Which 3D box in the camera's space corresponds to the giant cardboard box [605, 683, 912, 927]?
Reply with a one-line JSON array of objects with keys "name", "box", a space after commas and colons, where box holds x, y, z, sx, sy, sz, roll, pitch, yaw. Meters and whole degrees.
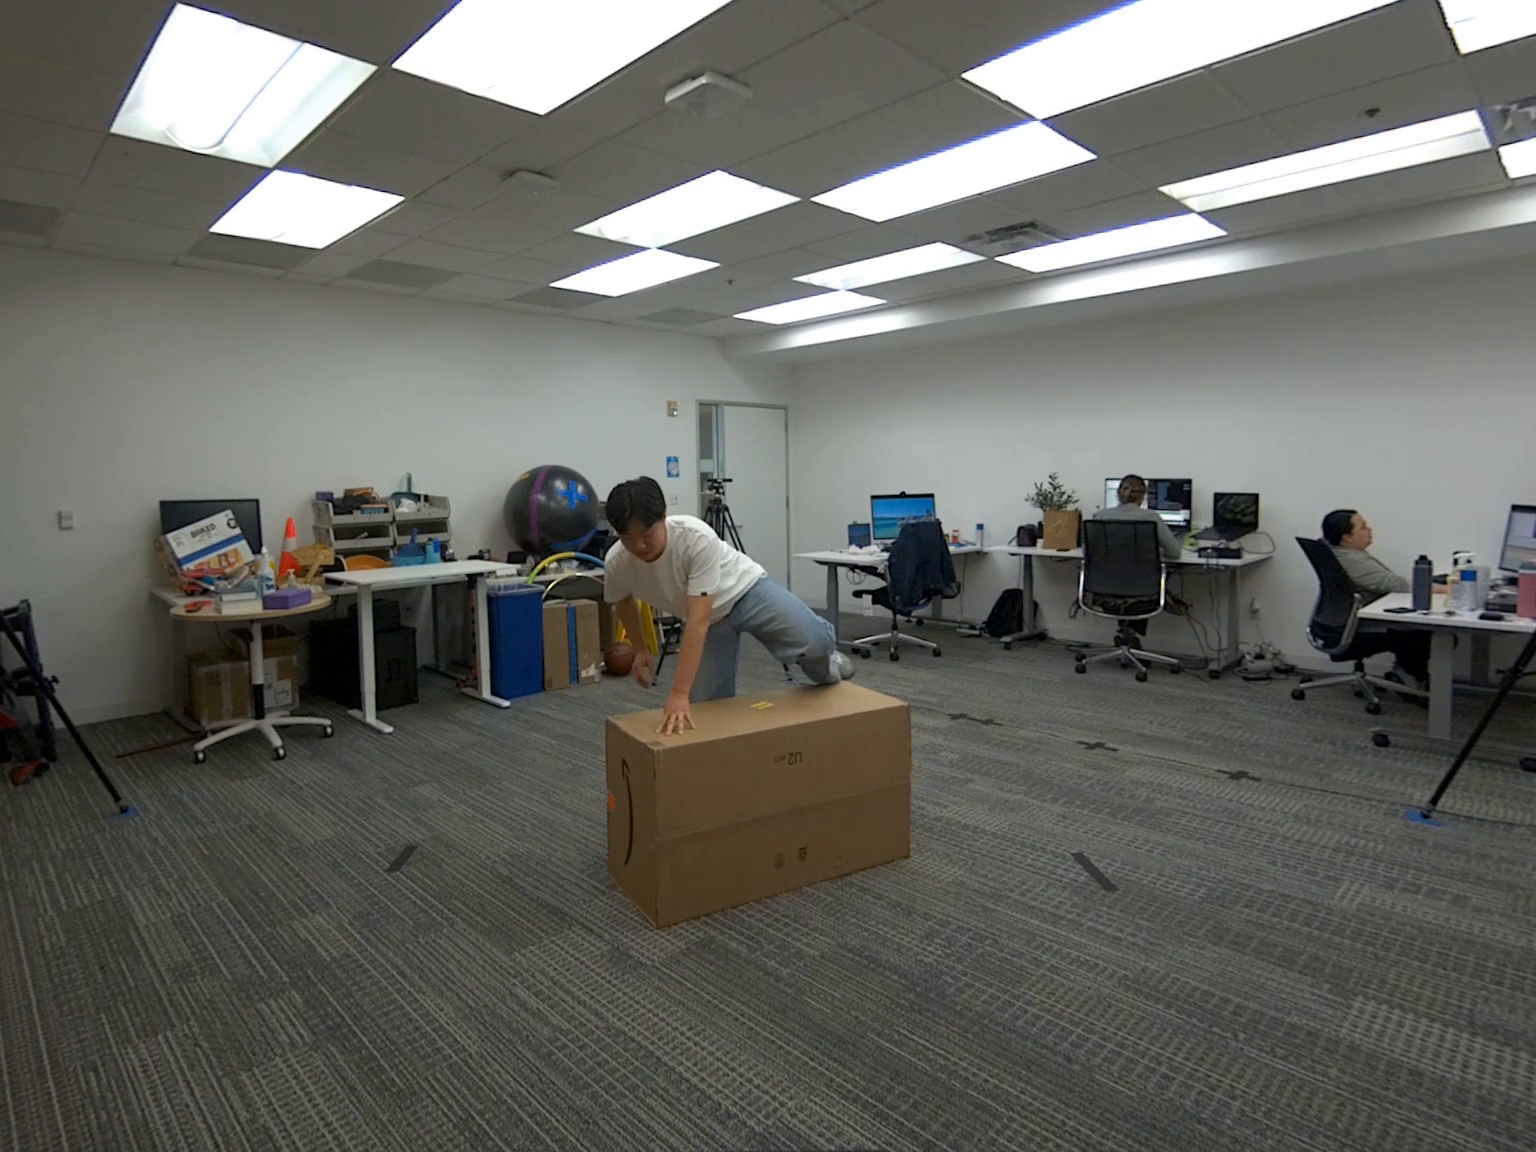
[{"name": "giant cardboard box", "box": [-0.023, 0.763, 3.062, 1.003, 0.575, 0.438, -4, 6, -28]}]
